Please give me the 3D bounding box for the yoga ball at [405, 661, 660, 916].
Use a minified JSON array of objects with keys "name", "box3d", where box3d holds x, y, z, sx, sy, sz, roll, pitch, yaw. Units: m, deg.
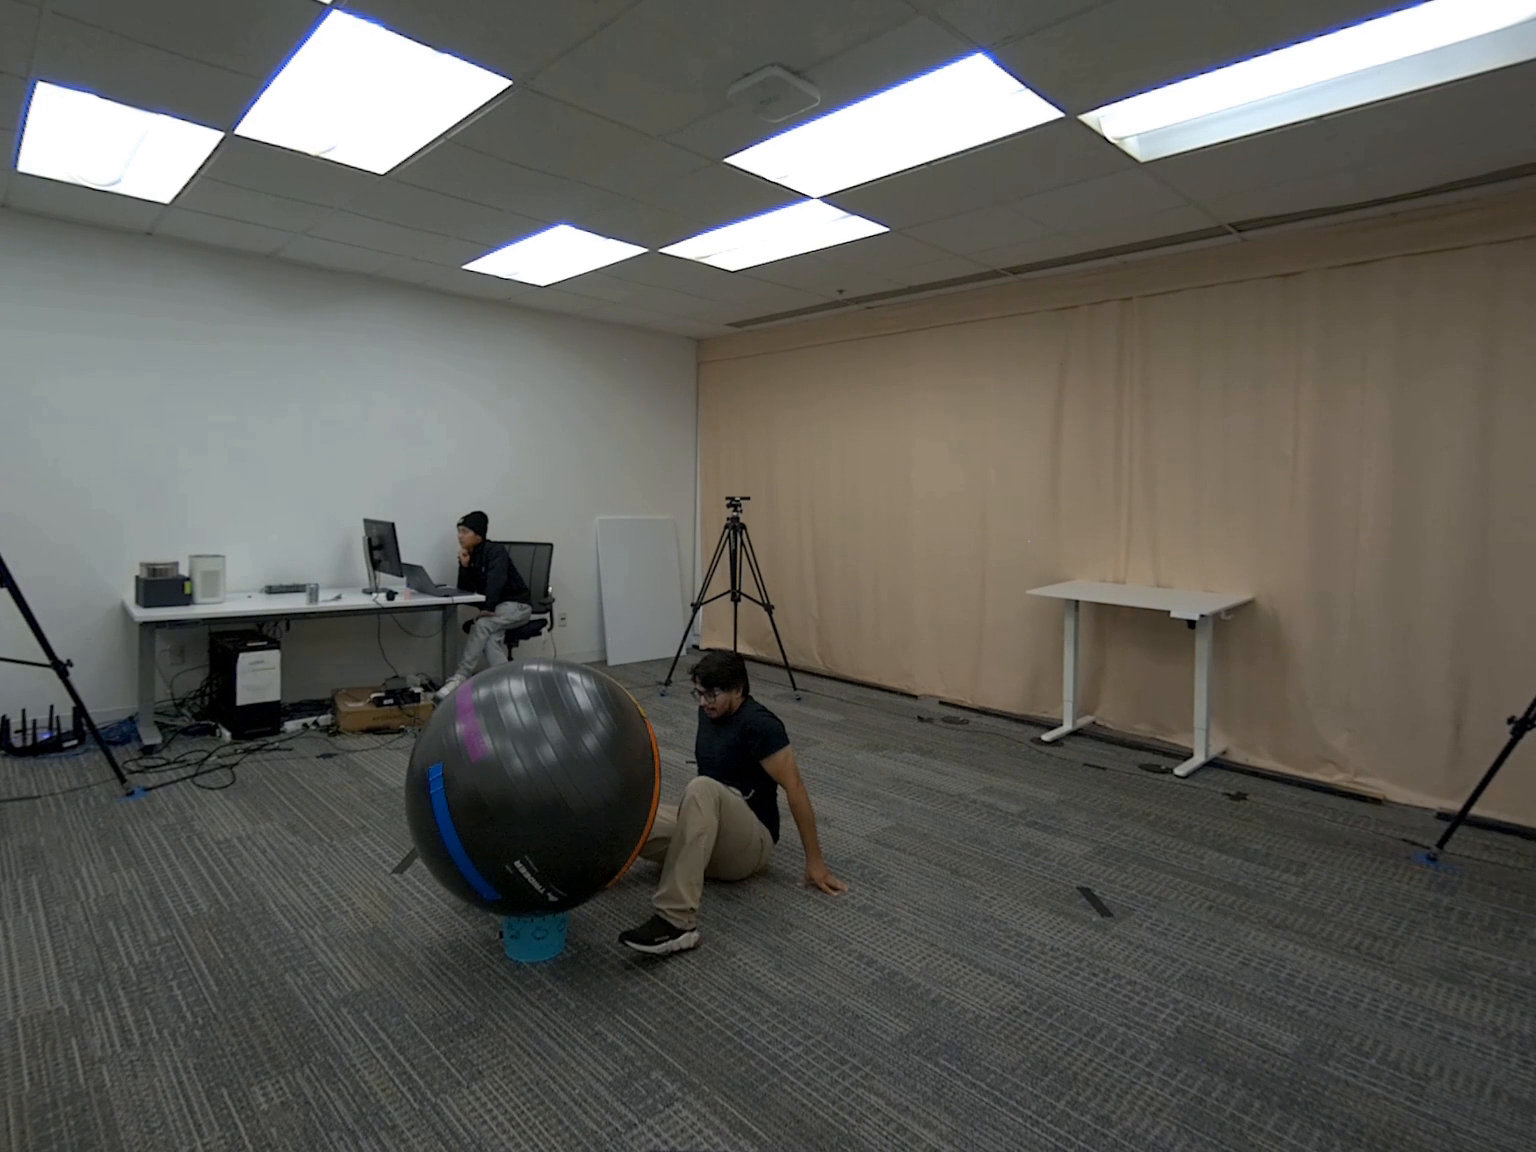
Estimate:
[{"name":"yoga ball","box3d":[-0.712,0.637,2.565,0.757,0.756,0.761,1,4,-1]}]
